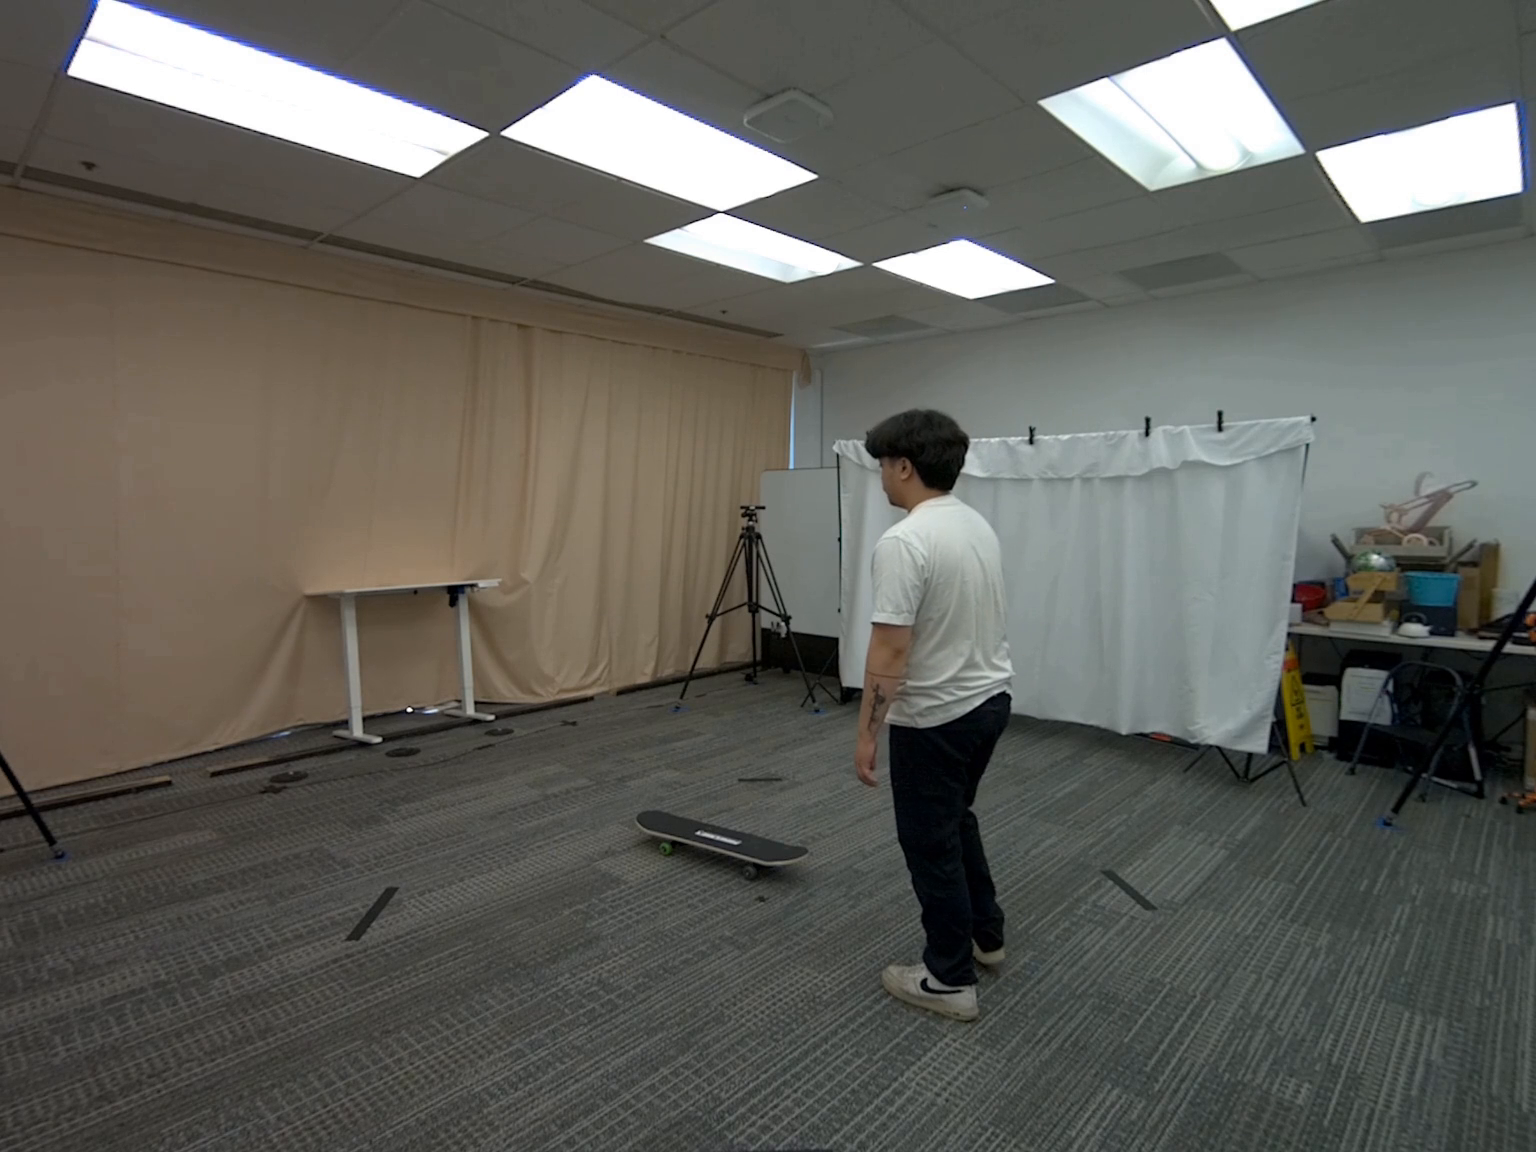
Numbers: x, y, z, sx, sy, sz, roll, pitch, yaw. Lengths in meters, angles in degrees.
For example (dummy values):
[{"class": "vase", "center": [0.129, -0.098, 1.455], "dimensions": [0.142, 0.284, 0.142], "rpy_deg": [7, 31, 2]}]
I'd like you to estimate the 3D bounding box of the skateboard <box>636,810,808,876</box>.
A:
[{"class": "skateboard", "center": [-0.194, 1.059, 3.317], "dimensions": [0.809, 0.110, 0.188], "rpy_deg": [3, 6, 33]}]
